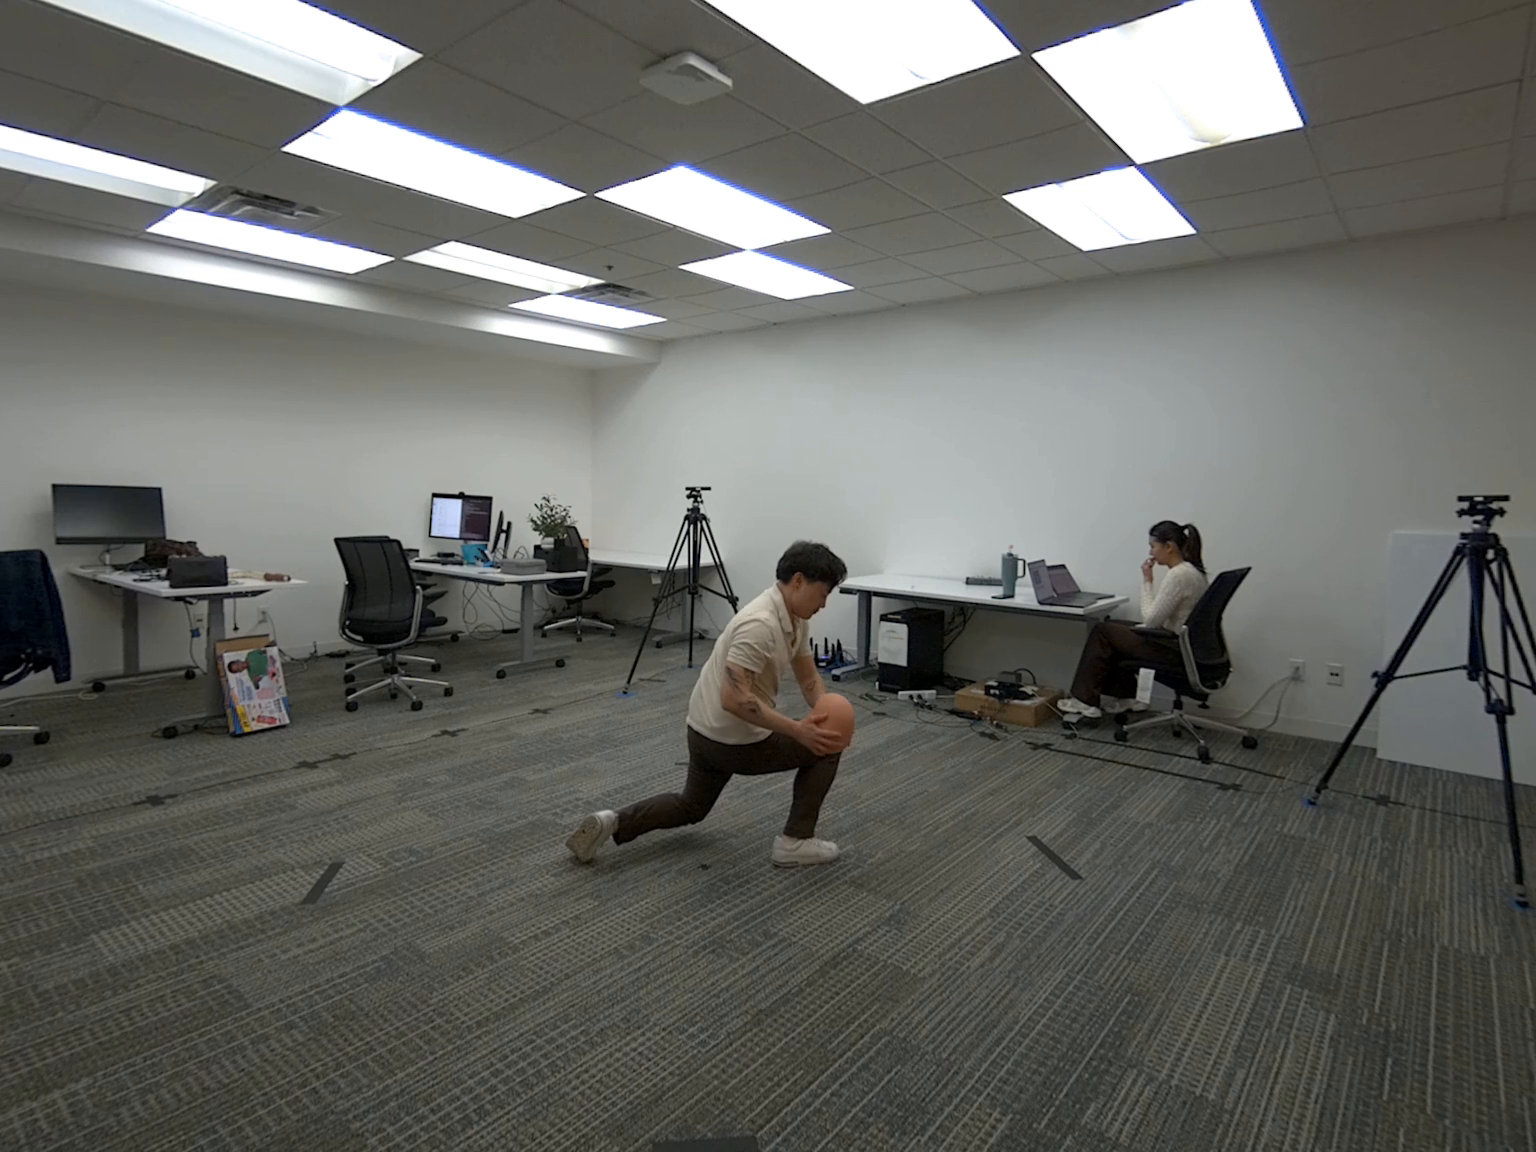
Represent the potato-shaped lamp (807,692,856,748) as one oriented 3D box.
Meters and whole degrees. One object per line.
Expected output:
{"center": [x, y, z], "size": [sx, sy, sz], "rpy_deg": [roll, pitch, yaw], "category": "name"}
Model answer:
{"center": [0.201, 0.493, 2.949], "size": [0.173, 0.196, 0.165], "rpy_deg": [6, 13, 5], "category": "potato-shaped lamp"}
